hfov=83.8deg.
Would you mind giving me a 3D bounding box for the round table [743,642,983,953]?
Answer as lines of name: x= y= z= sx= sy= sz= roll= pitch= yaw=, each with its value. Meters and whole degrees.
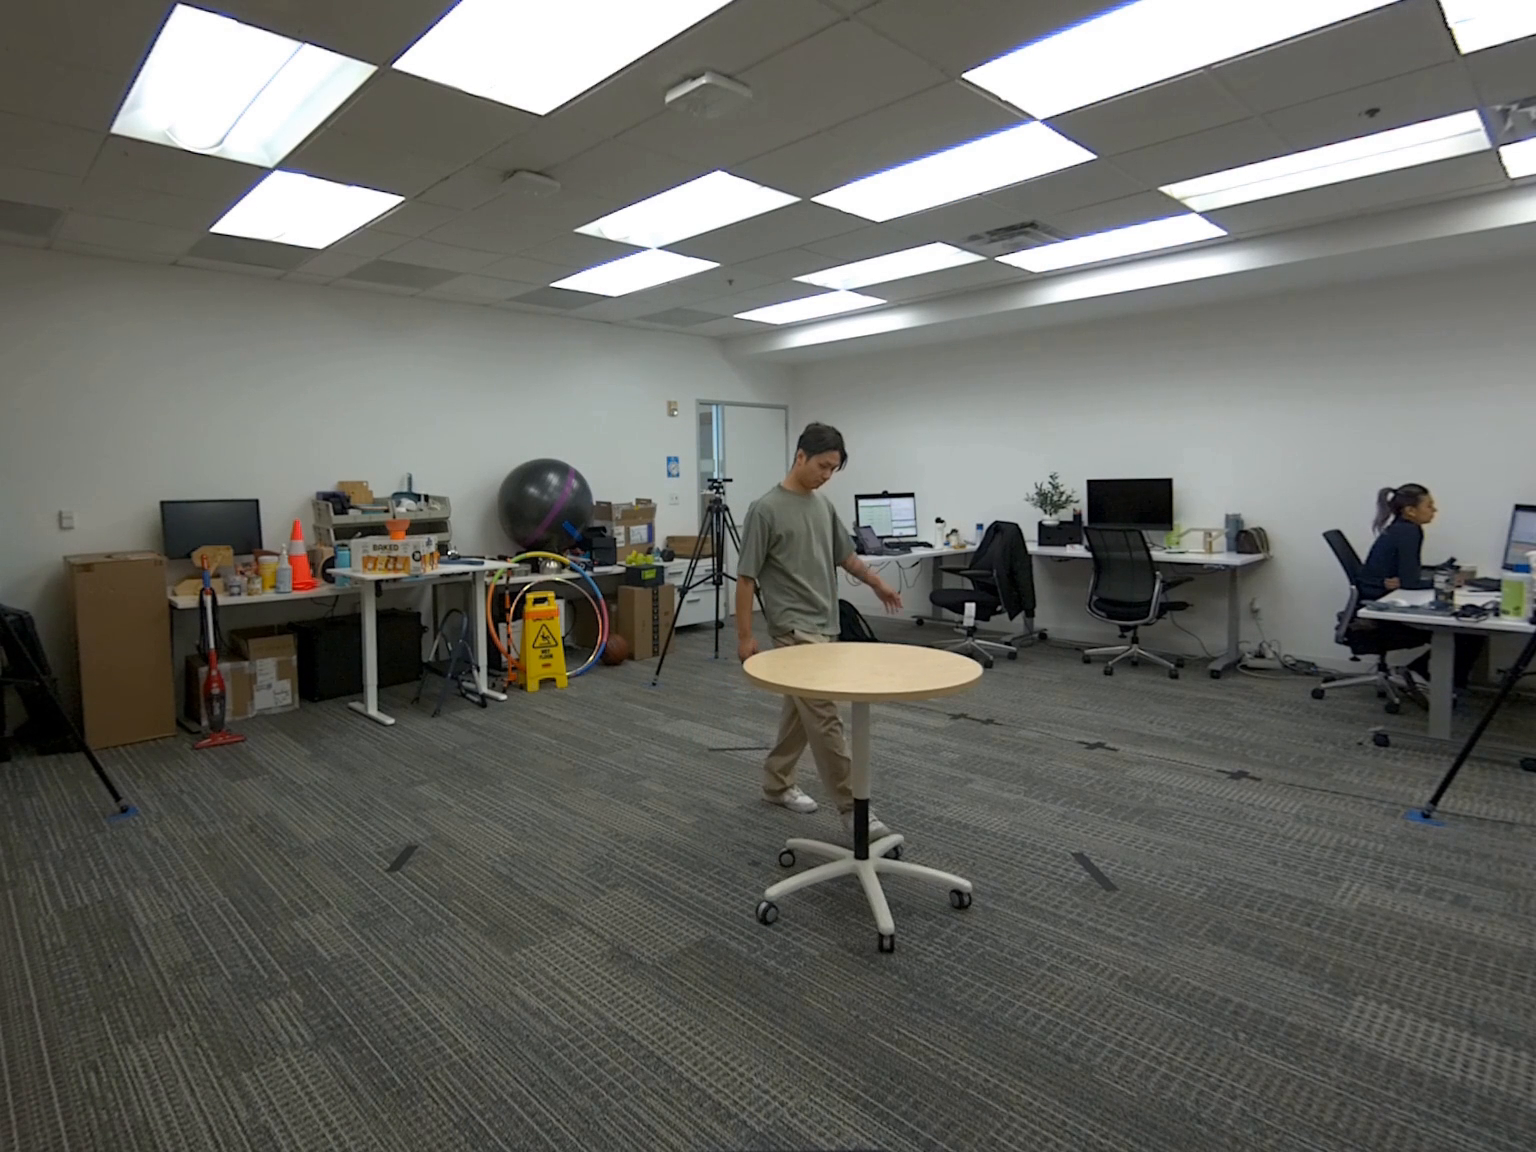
round table: x=0.295 y=0.680 z=2.822 sx=0.784 sy=0.784 sz=0.789 roll=-1 pitch=5 yaw=-2
